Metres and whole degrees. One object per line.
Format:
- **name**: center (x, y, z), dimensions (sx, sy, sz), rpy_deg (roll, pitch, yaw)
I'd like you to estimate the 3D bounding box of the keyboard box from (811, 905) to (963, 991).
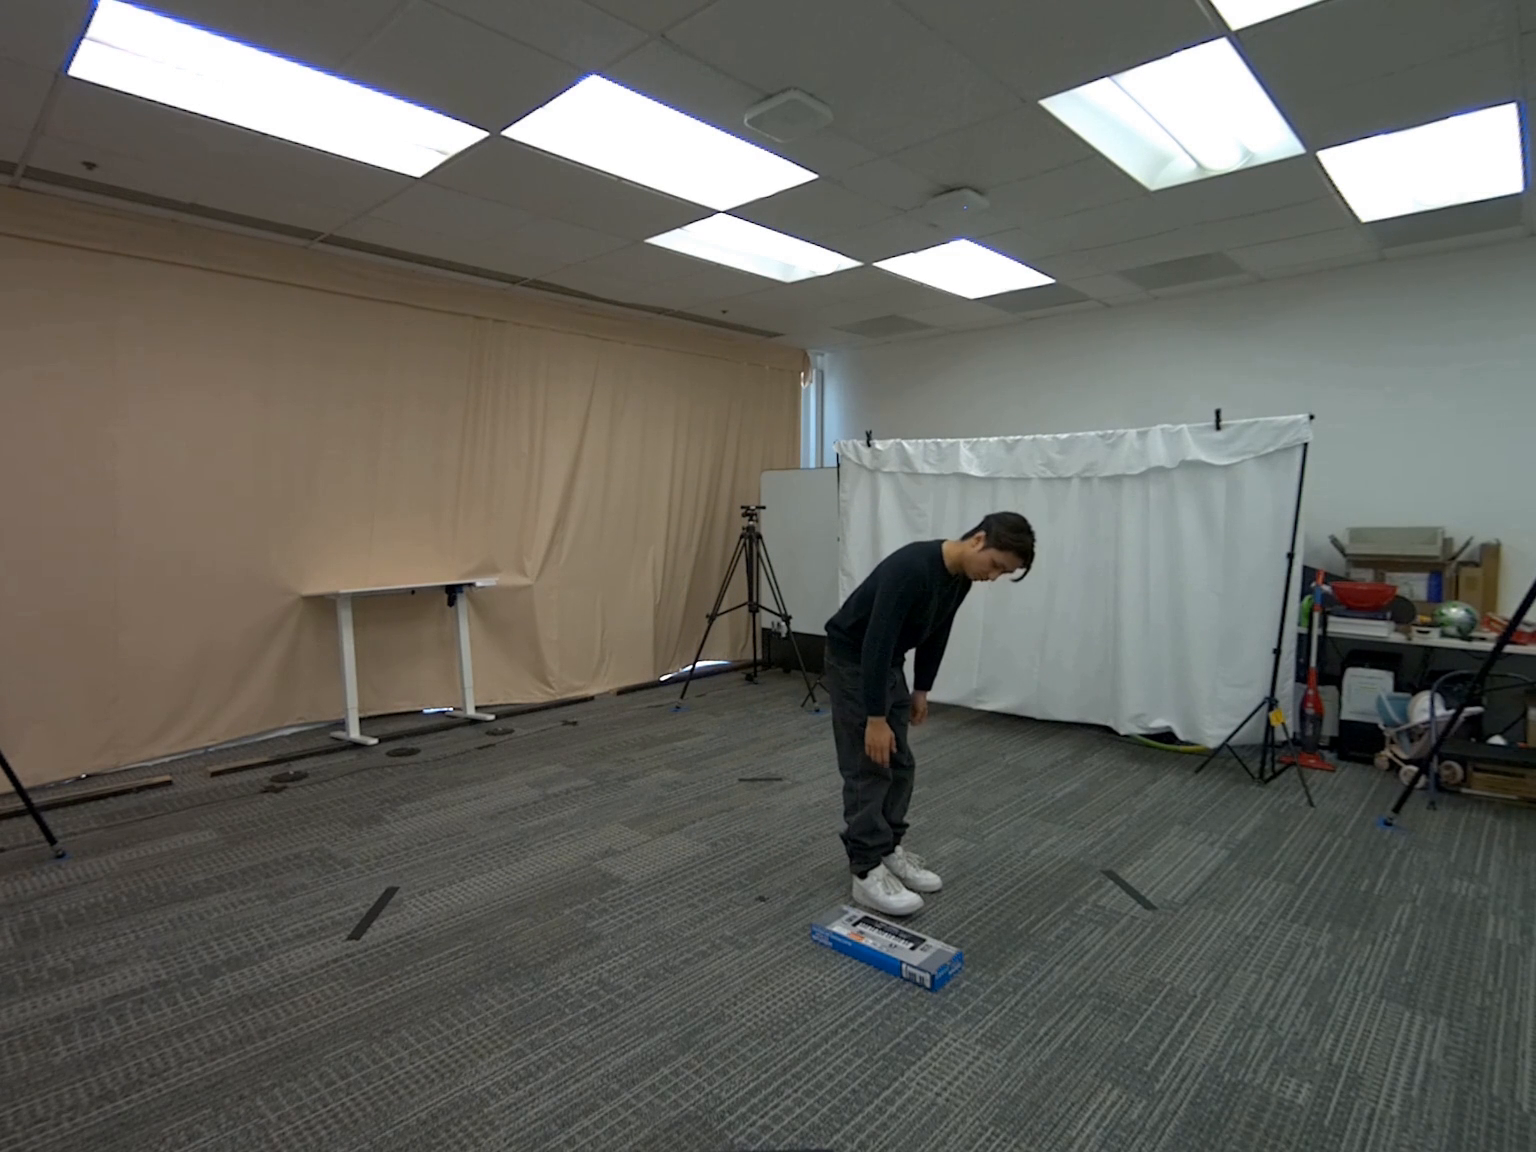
- **keyboard box**: center (0.361, 1.141, 2.613), dimensions (0.451, 0.059, 0.171), rpy_deg (4, 7, 42)
